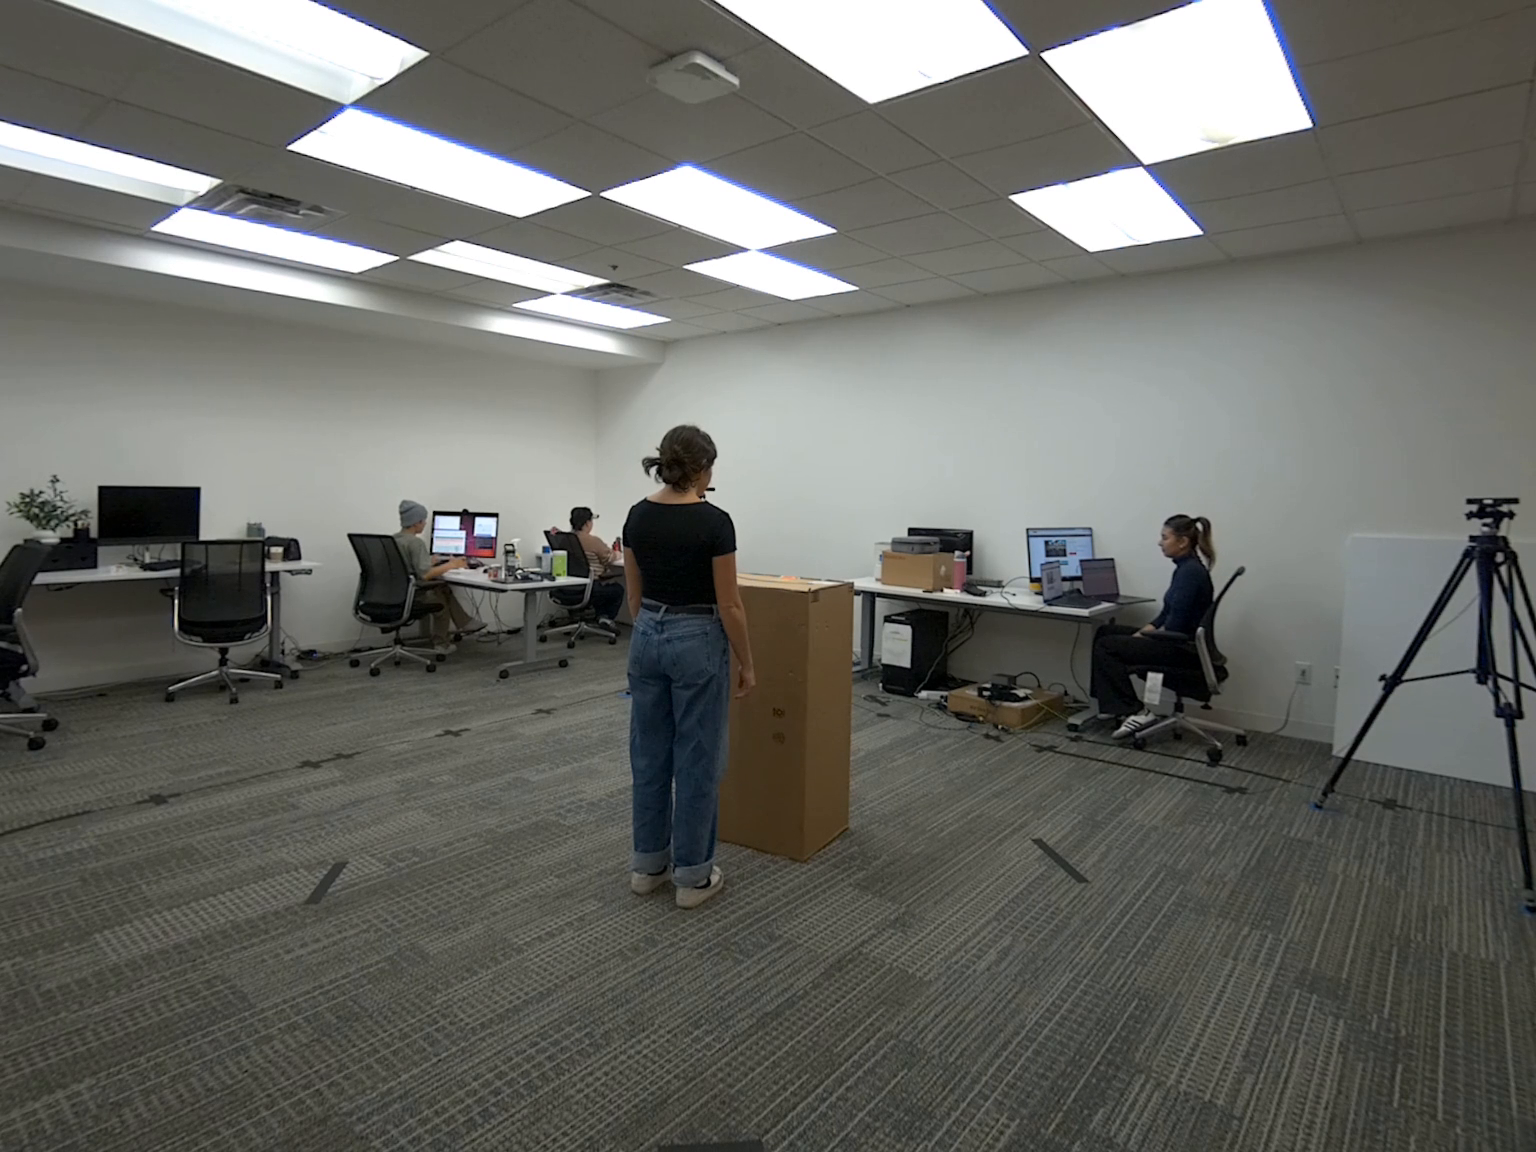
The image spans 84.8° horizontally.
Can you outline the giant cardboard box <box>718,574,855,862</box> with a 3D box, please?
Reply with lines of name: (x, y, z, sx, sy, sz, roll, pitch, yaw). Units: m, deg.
giant cardboard box: (-0.007, 0.525, 3.477, 0.595, 1.023, 0.415, 3, 4, 31)
